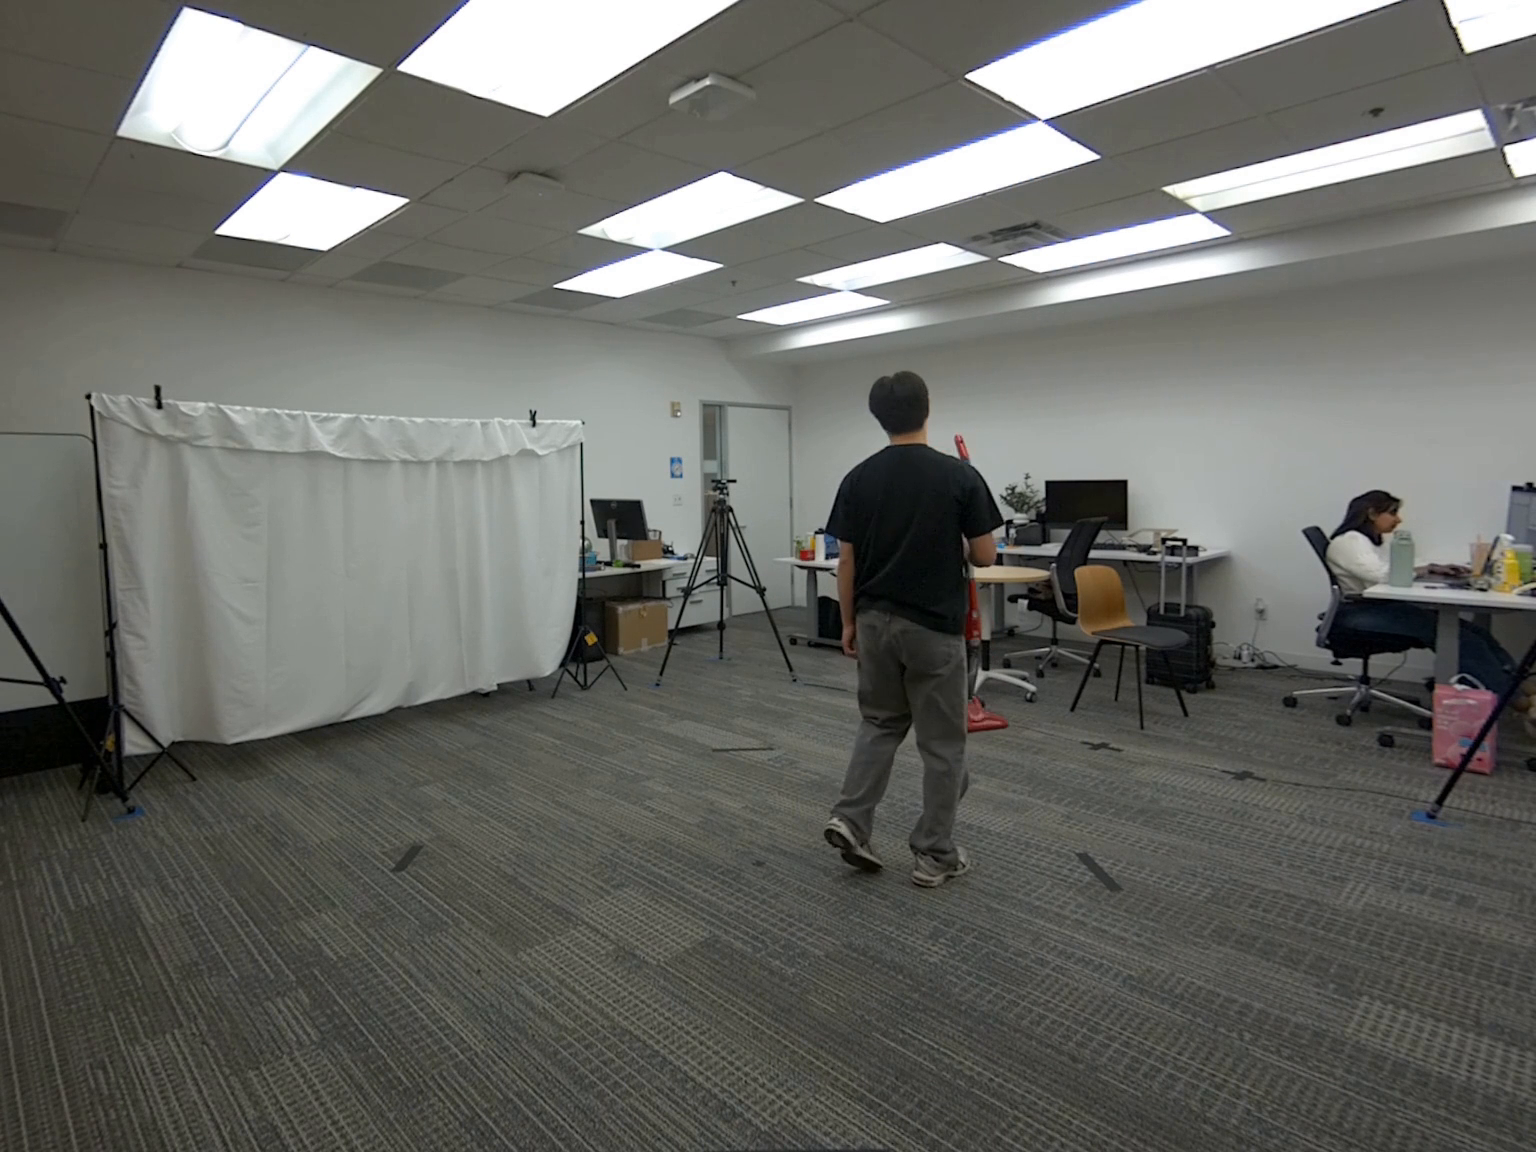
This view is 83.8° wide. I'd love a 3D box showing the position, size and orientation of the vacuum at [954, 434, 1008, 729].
[{"bbox_3d":[0.743,-0.003,3.229,0.253,1.050,0.144,-3,-1,0],"label":"vacuum"}]
